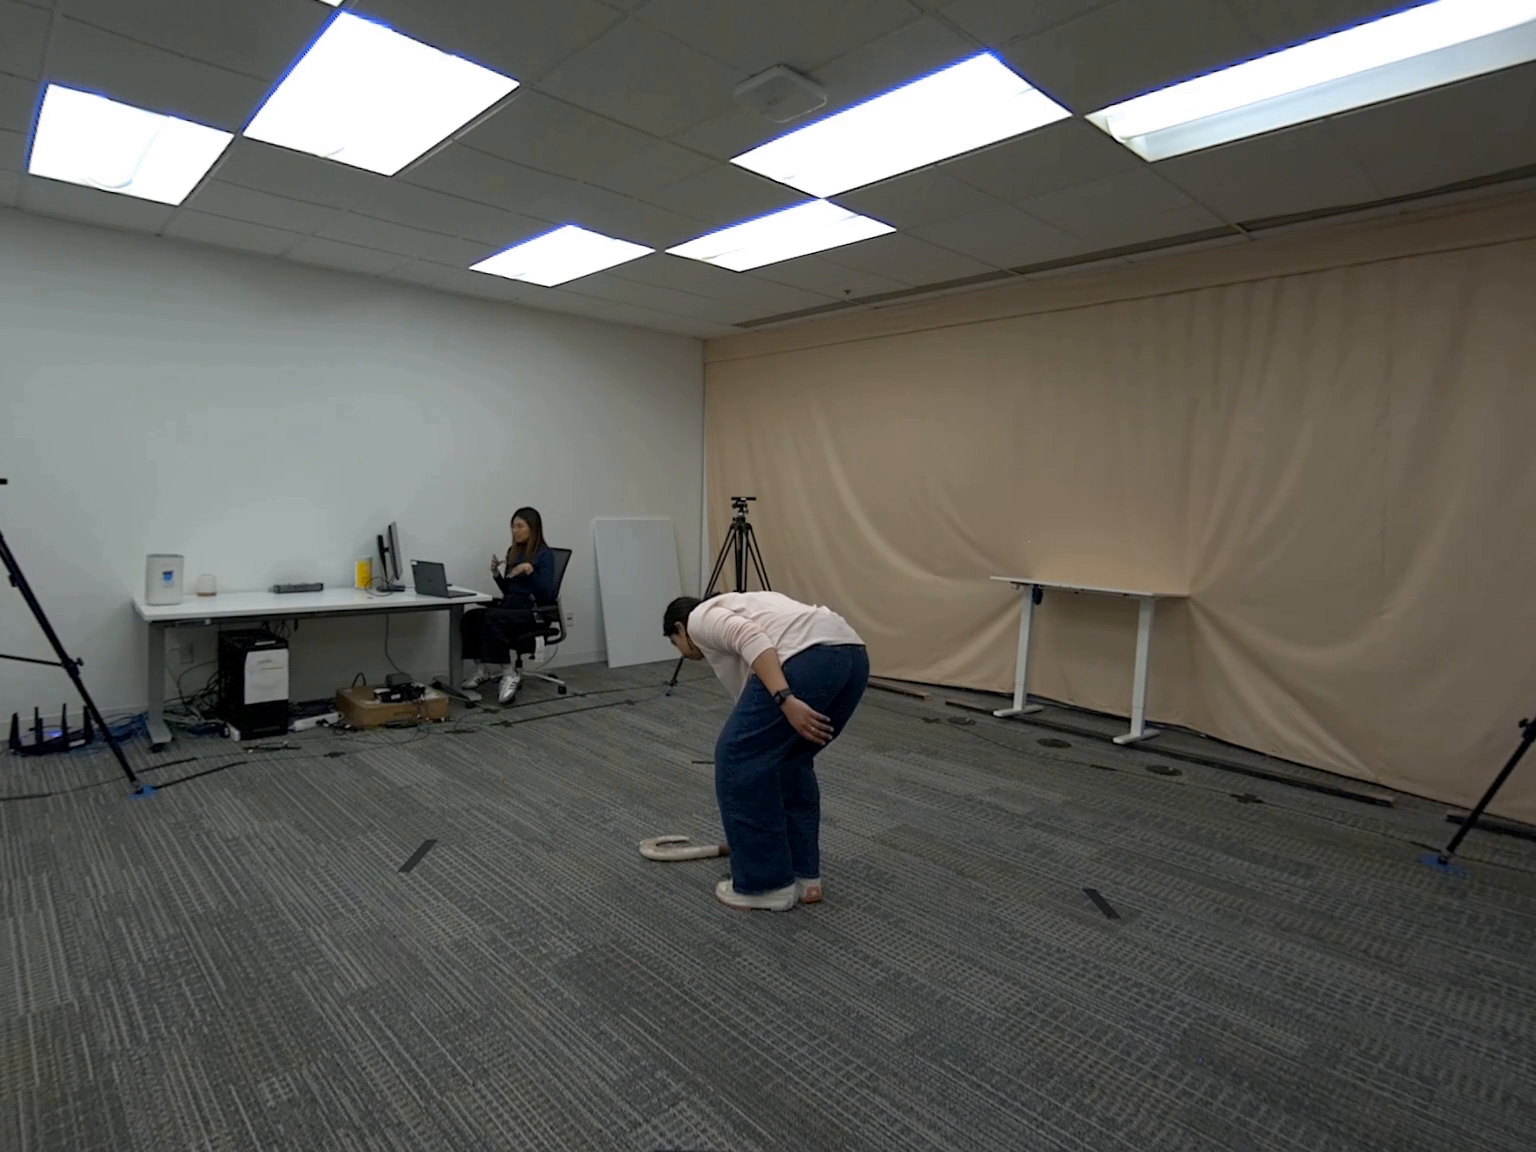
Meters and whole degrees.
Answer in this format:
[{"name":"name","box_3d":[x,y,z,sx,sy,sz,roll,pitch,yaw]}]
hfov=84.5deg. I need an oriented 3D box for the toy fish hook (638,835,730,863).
[{"name":"toy fish hook","box_3d":[-0.254,1.058,3.314,0.505,0.048,0.226,1,6,-4]}]
